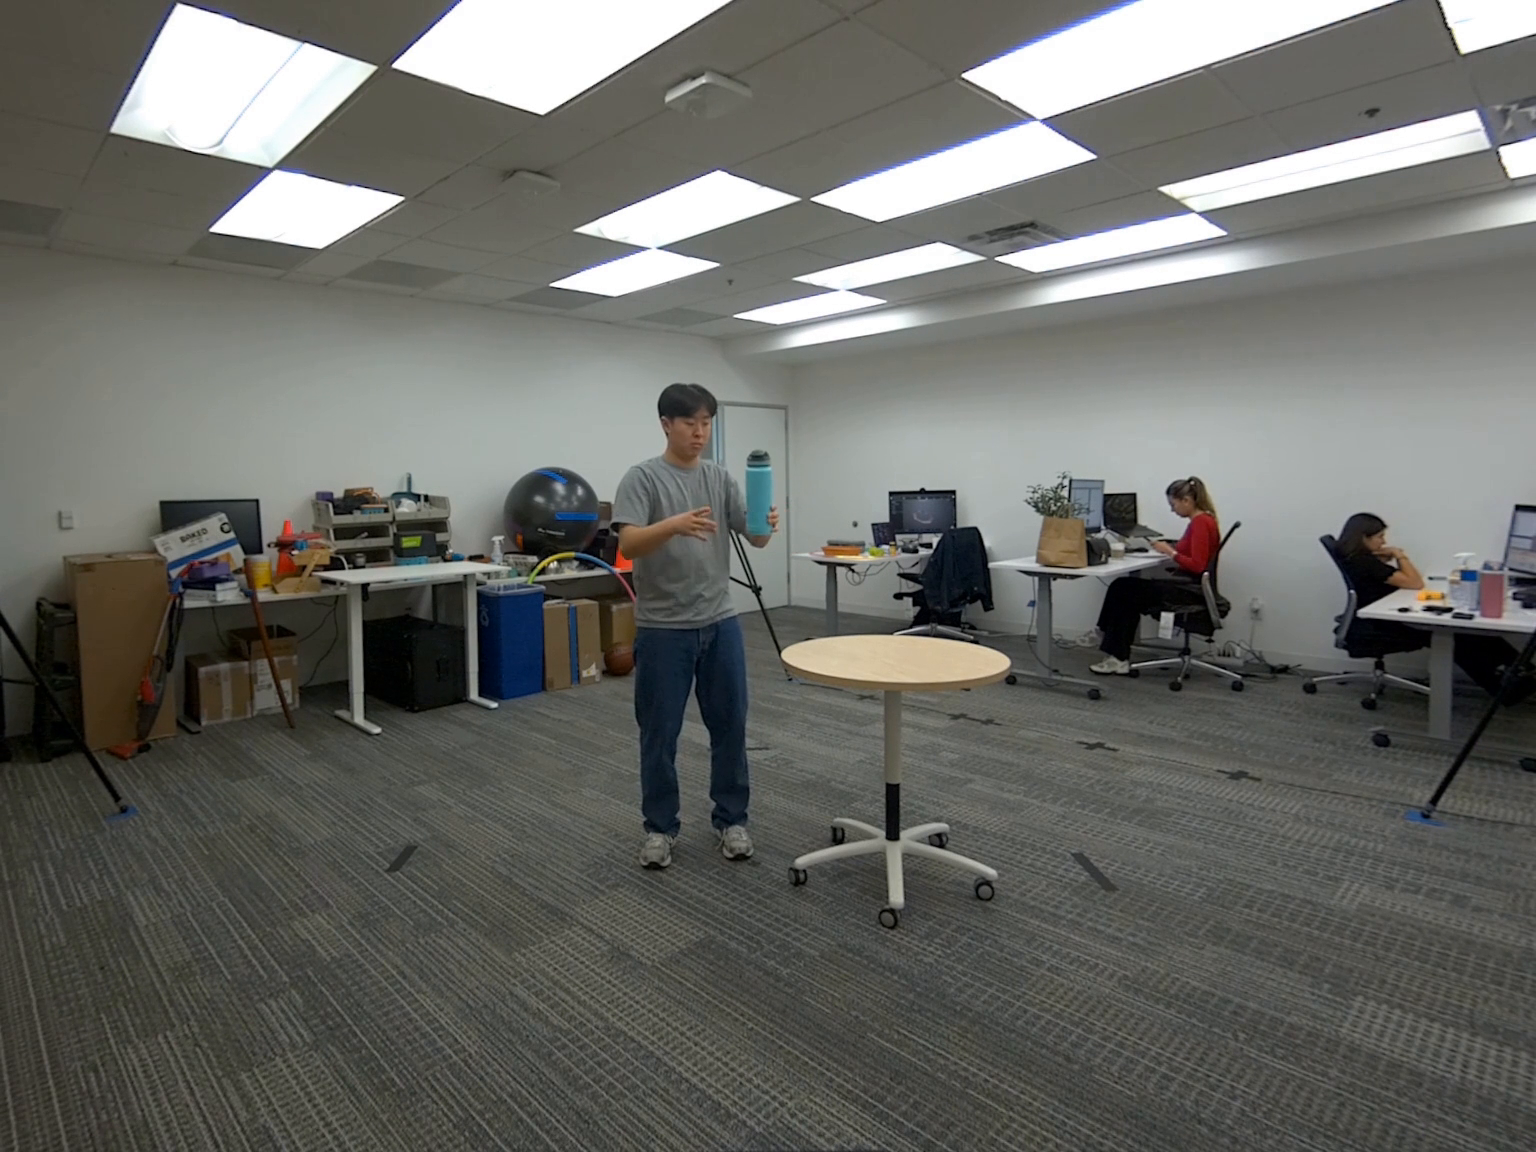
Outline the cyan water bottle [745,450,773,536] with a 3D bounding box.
[{"bbox_3d":[-0.028,-0.282,2.879,0.092,0.281,0.093,1,9,-2],"label":"cyan water bottle"}]
